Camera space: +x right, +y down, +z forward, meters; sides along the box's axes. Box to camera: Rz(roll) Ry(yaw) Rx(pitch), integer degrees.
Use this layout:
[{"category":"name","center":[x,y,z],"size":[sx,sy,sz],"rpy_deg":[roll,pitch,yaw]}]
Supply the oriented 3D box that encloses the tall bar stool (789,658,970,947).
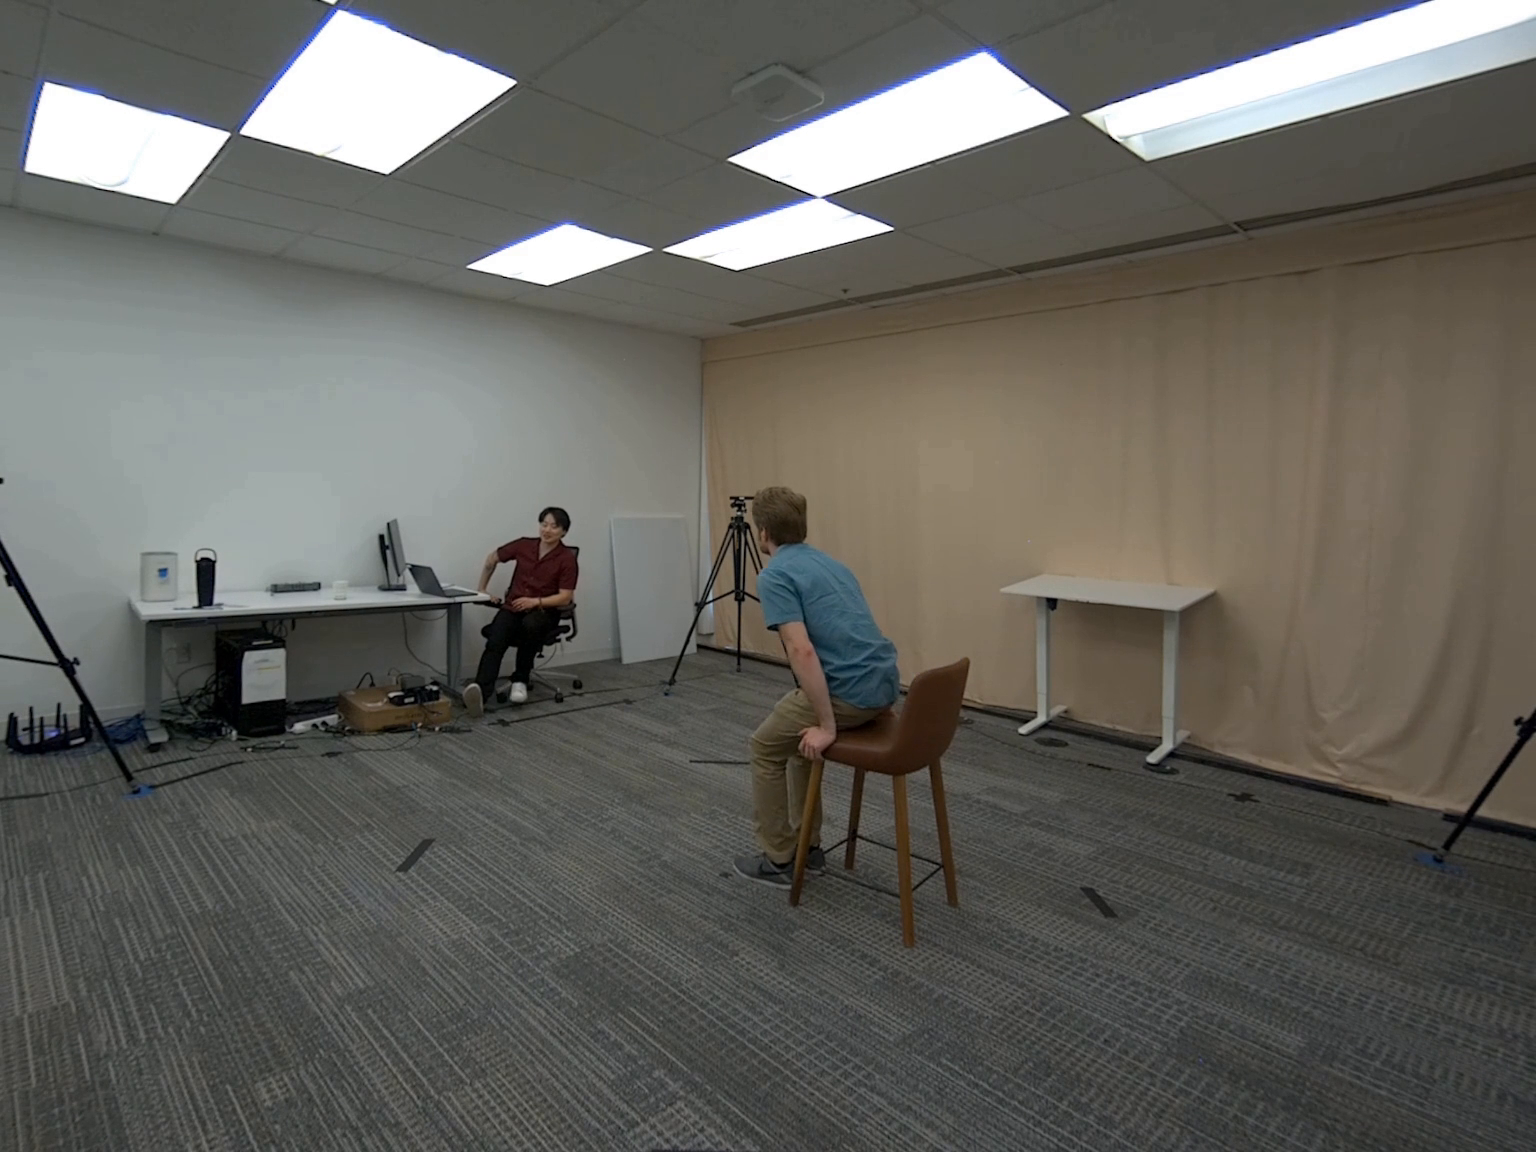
[{"category":"tall bar stool","center":[0.380,0.699,2.876],"size":[0.479,0.887,0.447],"rpy_deg":[6,6,36]}]
